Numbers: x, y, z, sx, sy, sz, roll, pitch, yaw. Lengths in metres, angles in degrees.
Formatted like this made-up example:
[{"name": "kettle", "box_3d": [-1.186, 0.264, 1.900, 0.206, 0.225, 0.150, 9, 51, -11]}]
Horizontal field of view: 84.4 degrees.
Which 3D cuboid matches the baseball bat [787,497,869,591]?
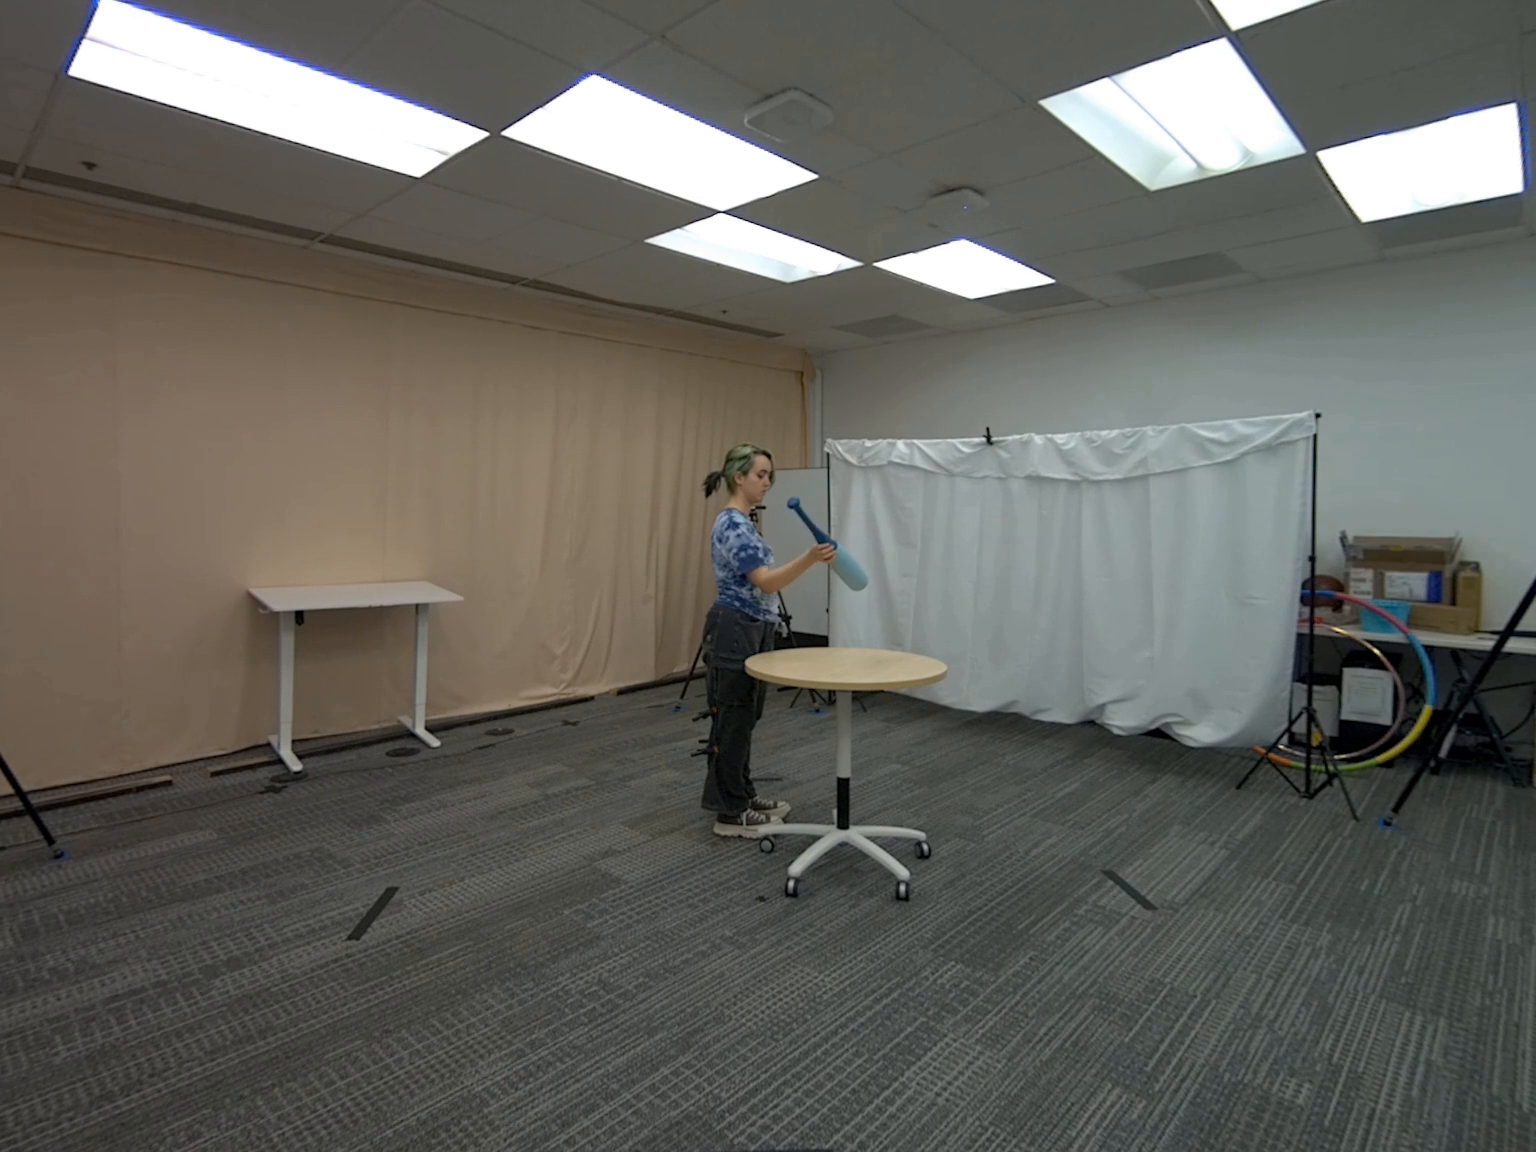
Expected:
[{"name": "baseball bat", "box_3d": [0.231, -0.116, 3.218, 0.092, 0.089, 0.525, 3, -34, 44]}]
